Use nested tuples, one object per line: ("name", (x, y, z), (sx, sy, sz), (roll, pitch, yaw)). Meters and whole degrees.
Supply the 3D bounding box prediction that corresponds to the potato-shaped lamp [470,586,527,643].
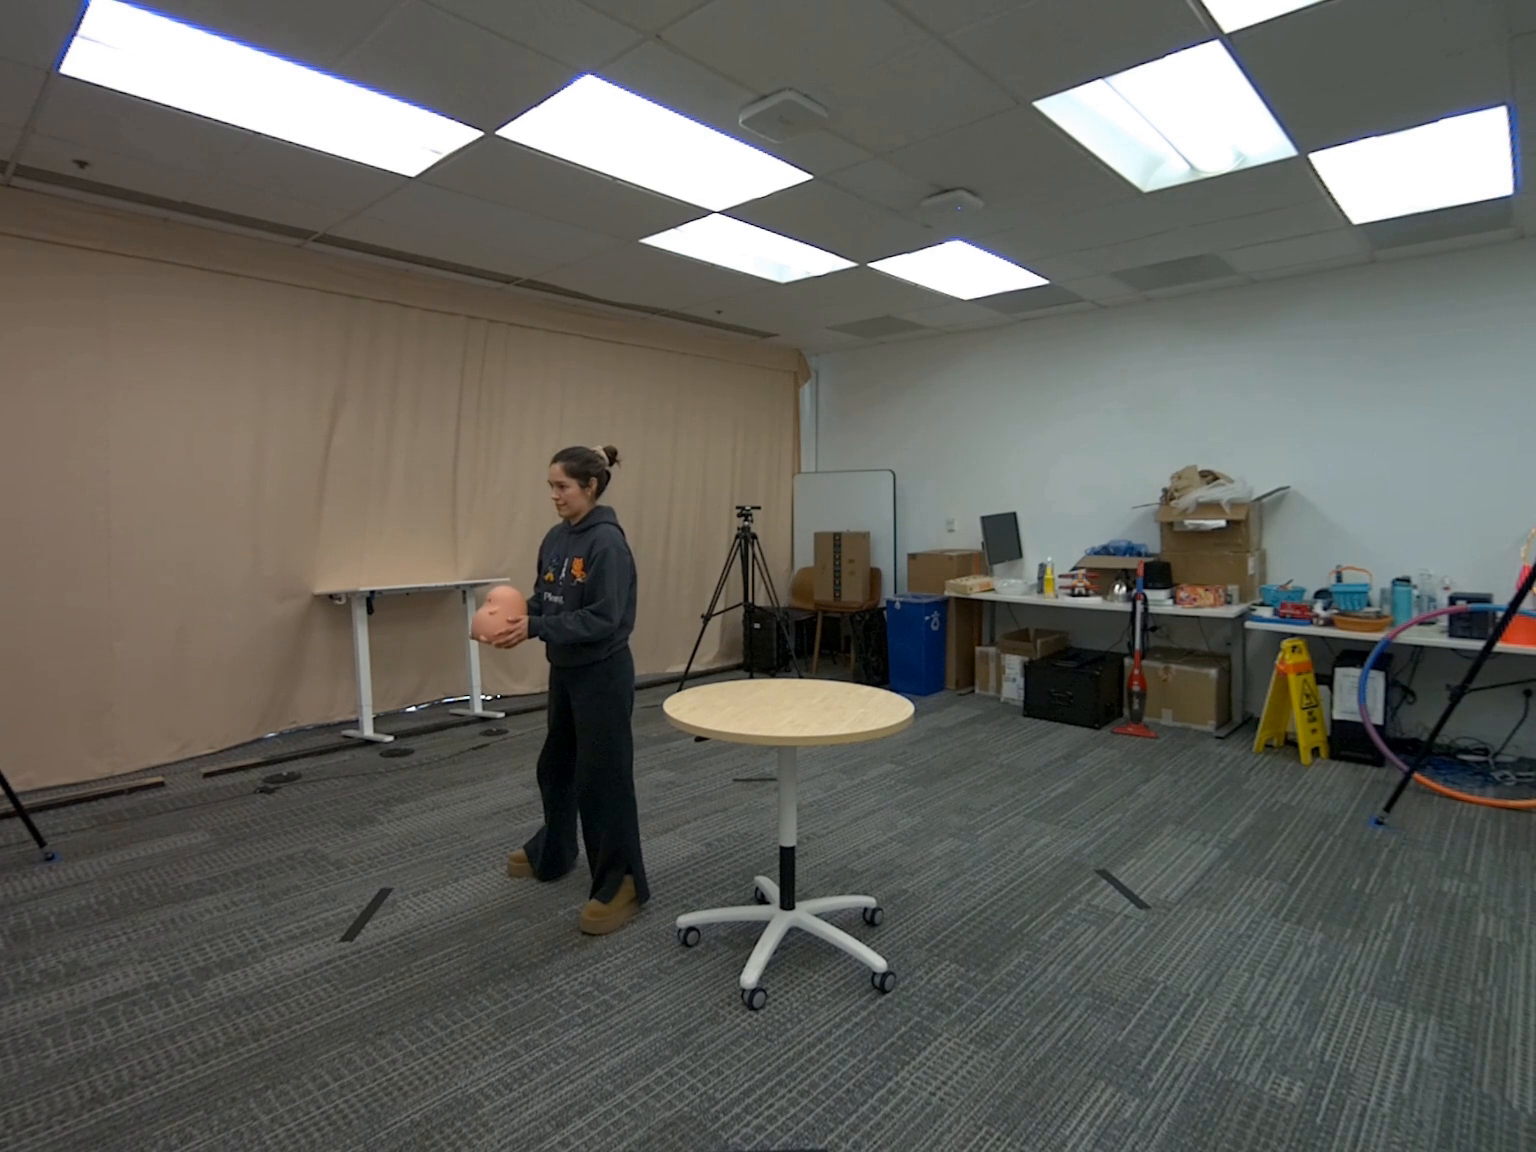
("potato-shaped lamp", (-0.872, 0.137, 2.797), (0.166, 0.199, 0.169), (13, -9, -34))
